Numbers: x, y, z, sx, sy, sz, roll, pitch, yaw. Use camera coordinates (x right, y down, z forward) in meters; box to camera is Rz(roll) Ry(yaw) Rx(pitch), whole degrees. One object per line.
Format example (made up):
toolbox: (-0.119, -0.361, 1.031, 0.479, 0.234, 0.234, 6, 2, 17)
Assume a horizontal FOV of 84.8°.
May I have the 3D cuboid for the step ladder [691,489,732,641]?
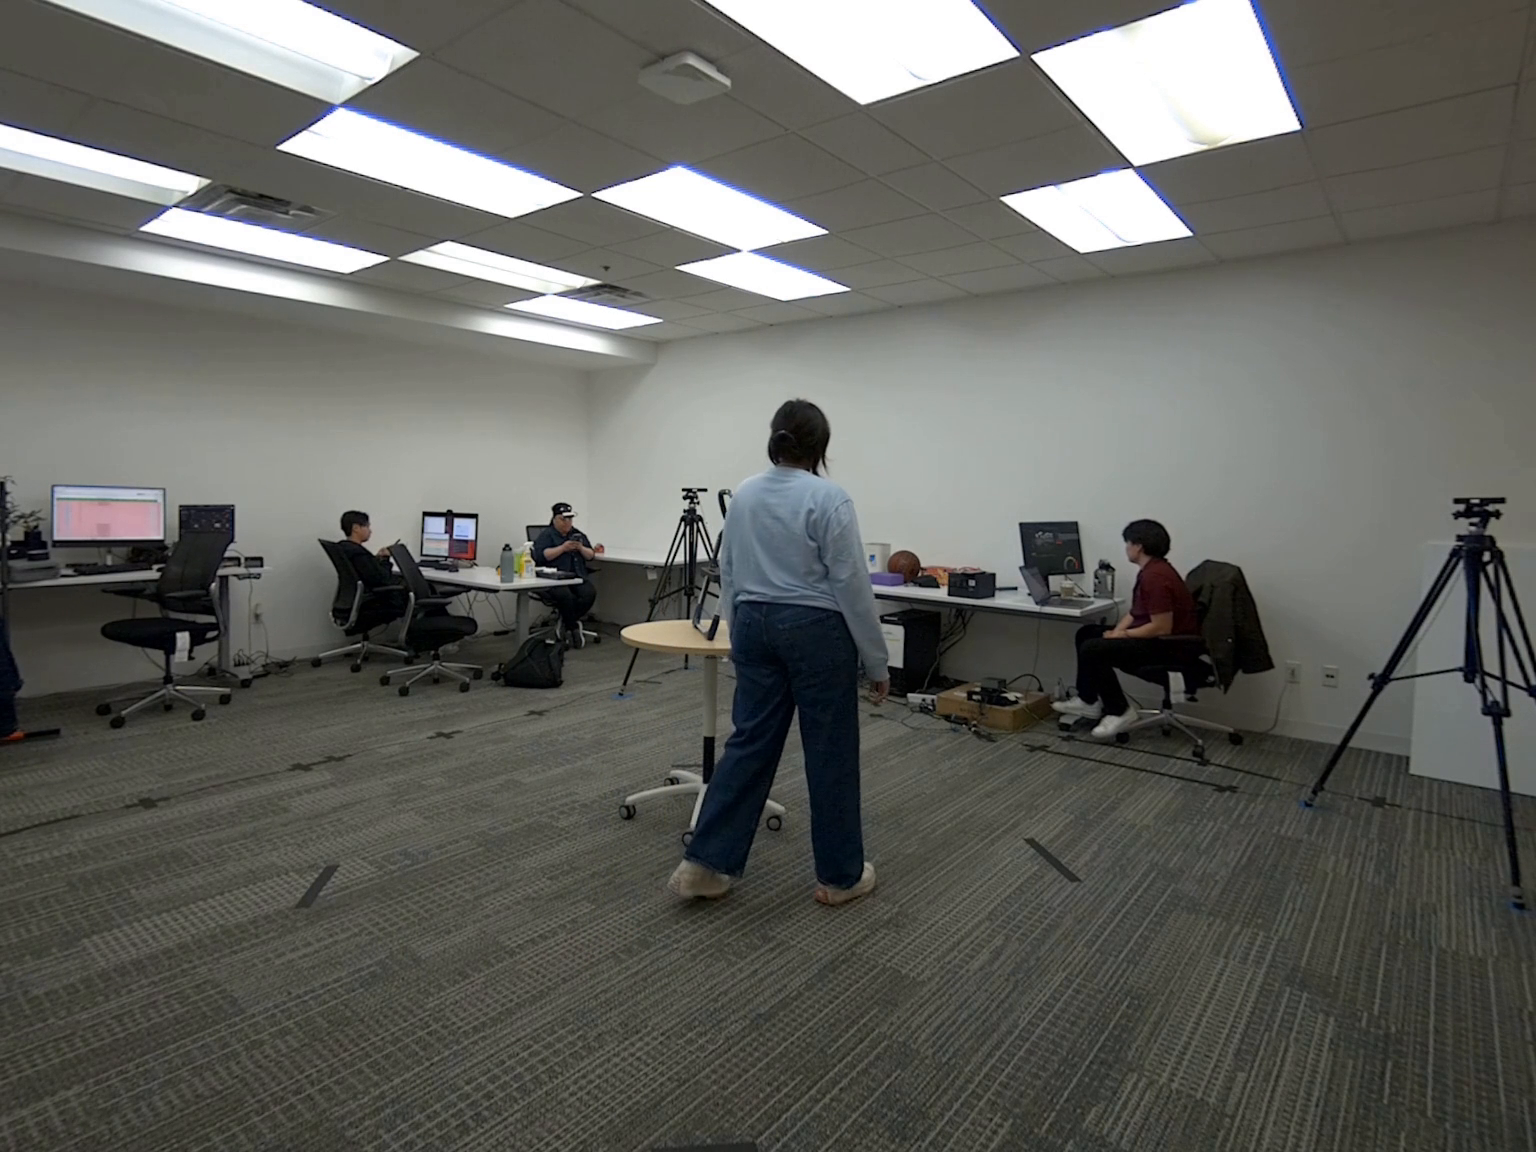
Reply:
step ladder: (-0.131, -0.063, 3.611, 0.344, 0.604, 0.438, 2, 3, -14)
